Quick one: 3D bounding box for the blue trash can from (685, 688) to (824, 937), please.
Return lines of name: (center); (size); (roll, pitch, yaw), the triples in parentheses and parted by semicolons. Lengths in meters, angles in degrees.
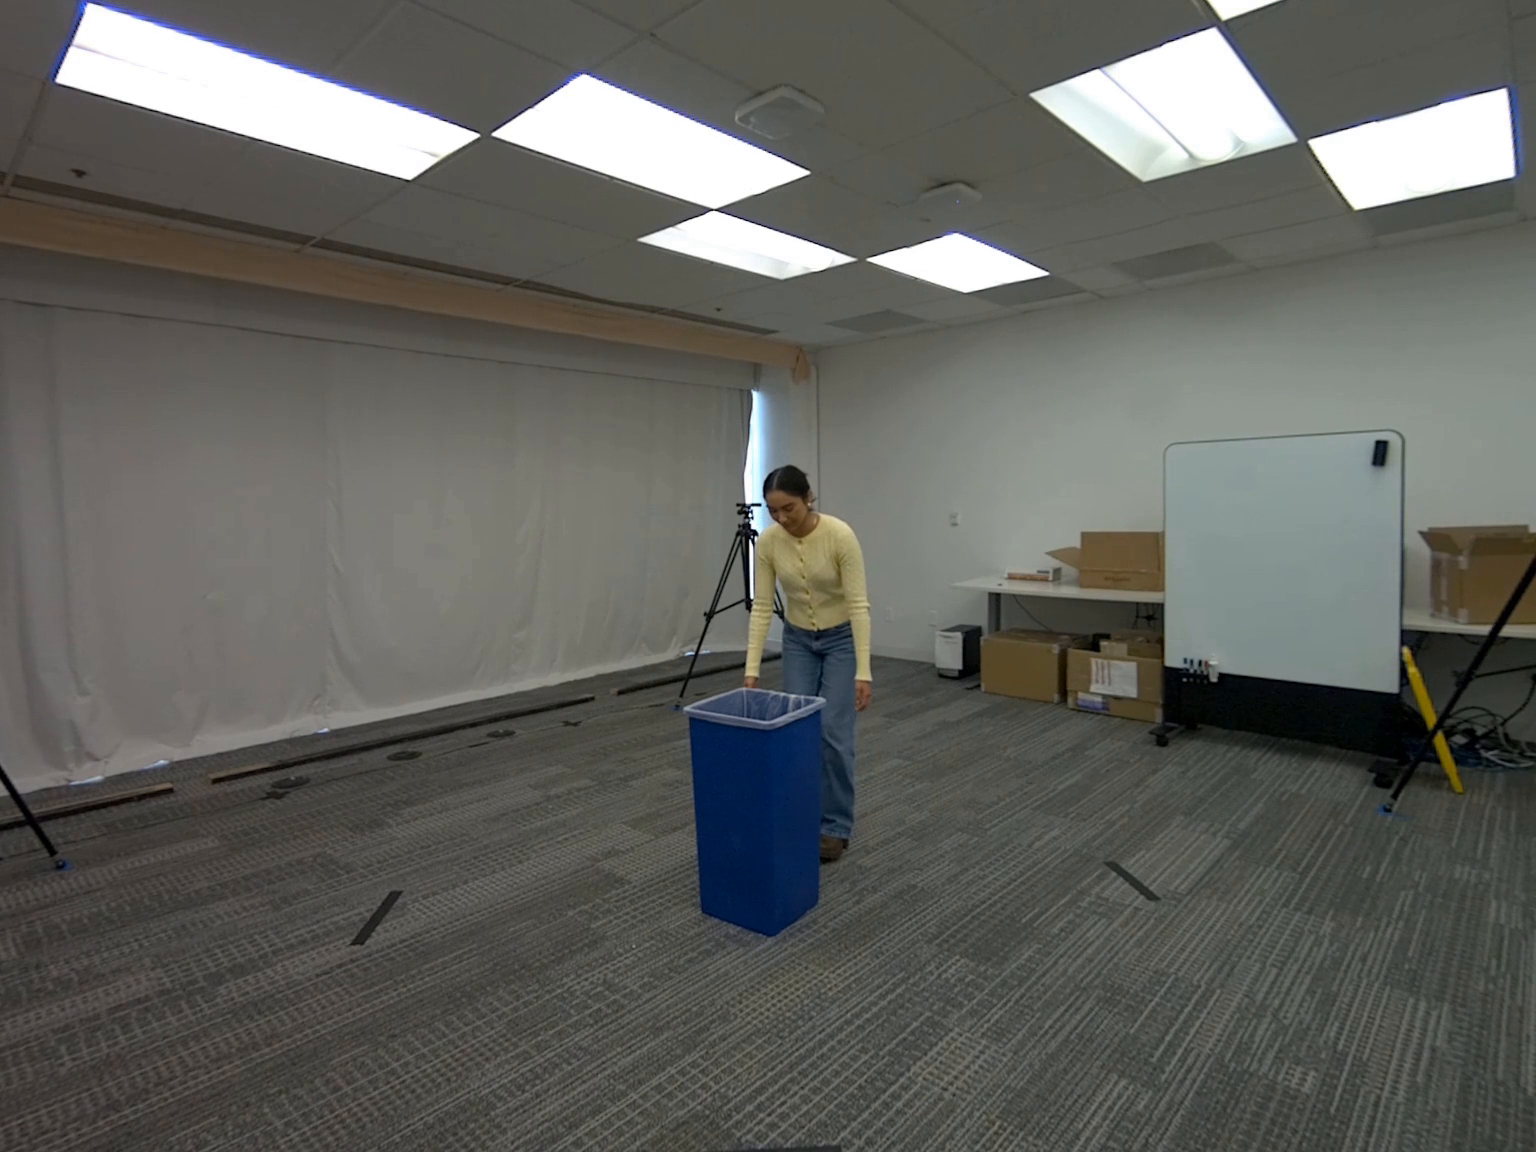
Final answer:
blue trash can: (-0.032, 0.788, 2.877); (0.390, 0.712, 0.363); (1, 4, 35)
